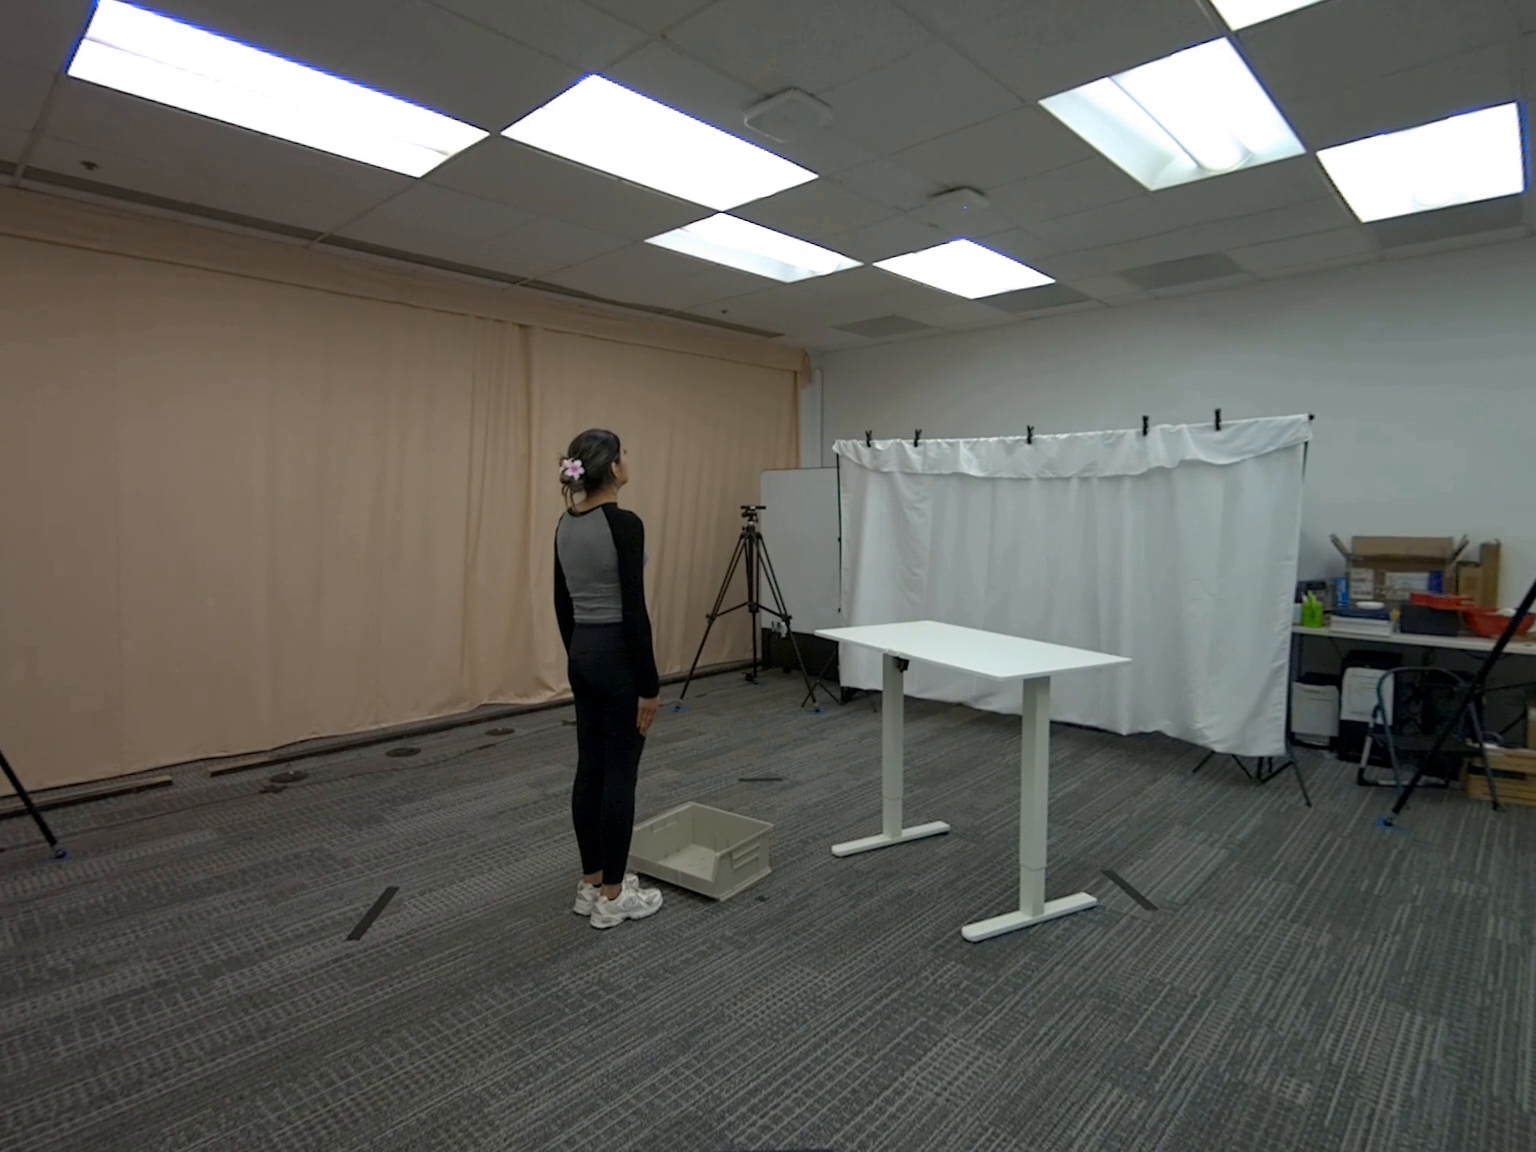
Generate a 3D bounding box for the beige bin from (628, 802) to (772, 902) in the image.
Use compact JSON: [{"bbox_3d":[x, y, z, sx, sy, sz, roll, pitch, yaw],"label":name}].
[{"bbox_3d":[-0.252,1.039,3.188,0.436,0.188,0.366,2,5,36],"label":"beige bin"}]
